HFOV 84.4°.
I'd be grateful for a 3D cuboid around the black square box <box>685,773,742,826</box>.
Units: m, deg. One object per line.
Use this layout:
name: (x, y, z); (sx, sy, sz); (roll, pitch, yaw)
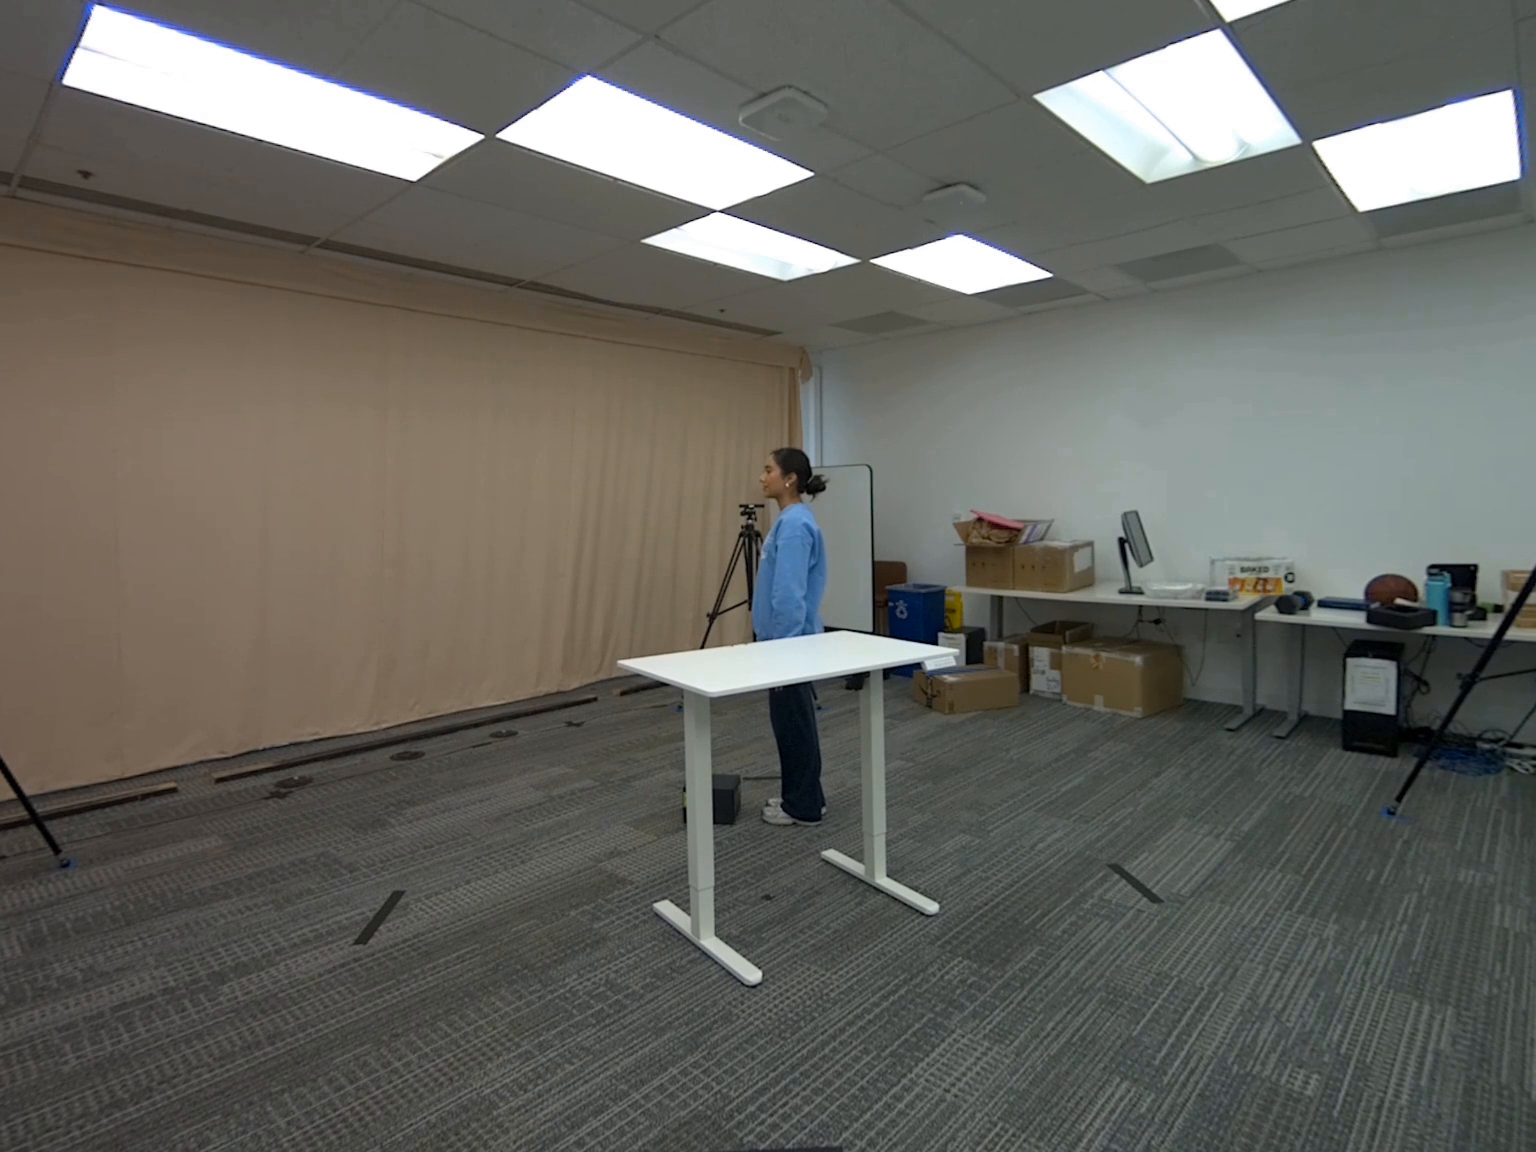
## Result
black square box: (-0.249, 1.000, 3.800); (0.230, 0.156, 0.215); (-1, 3, 8)
